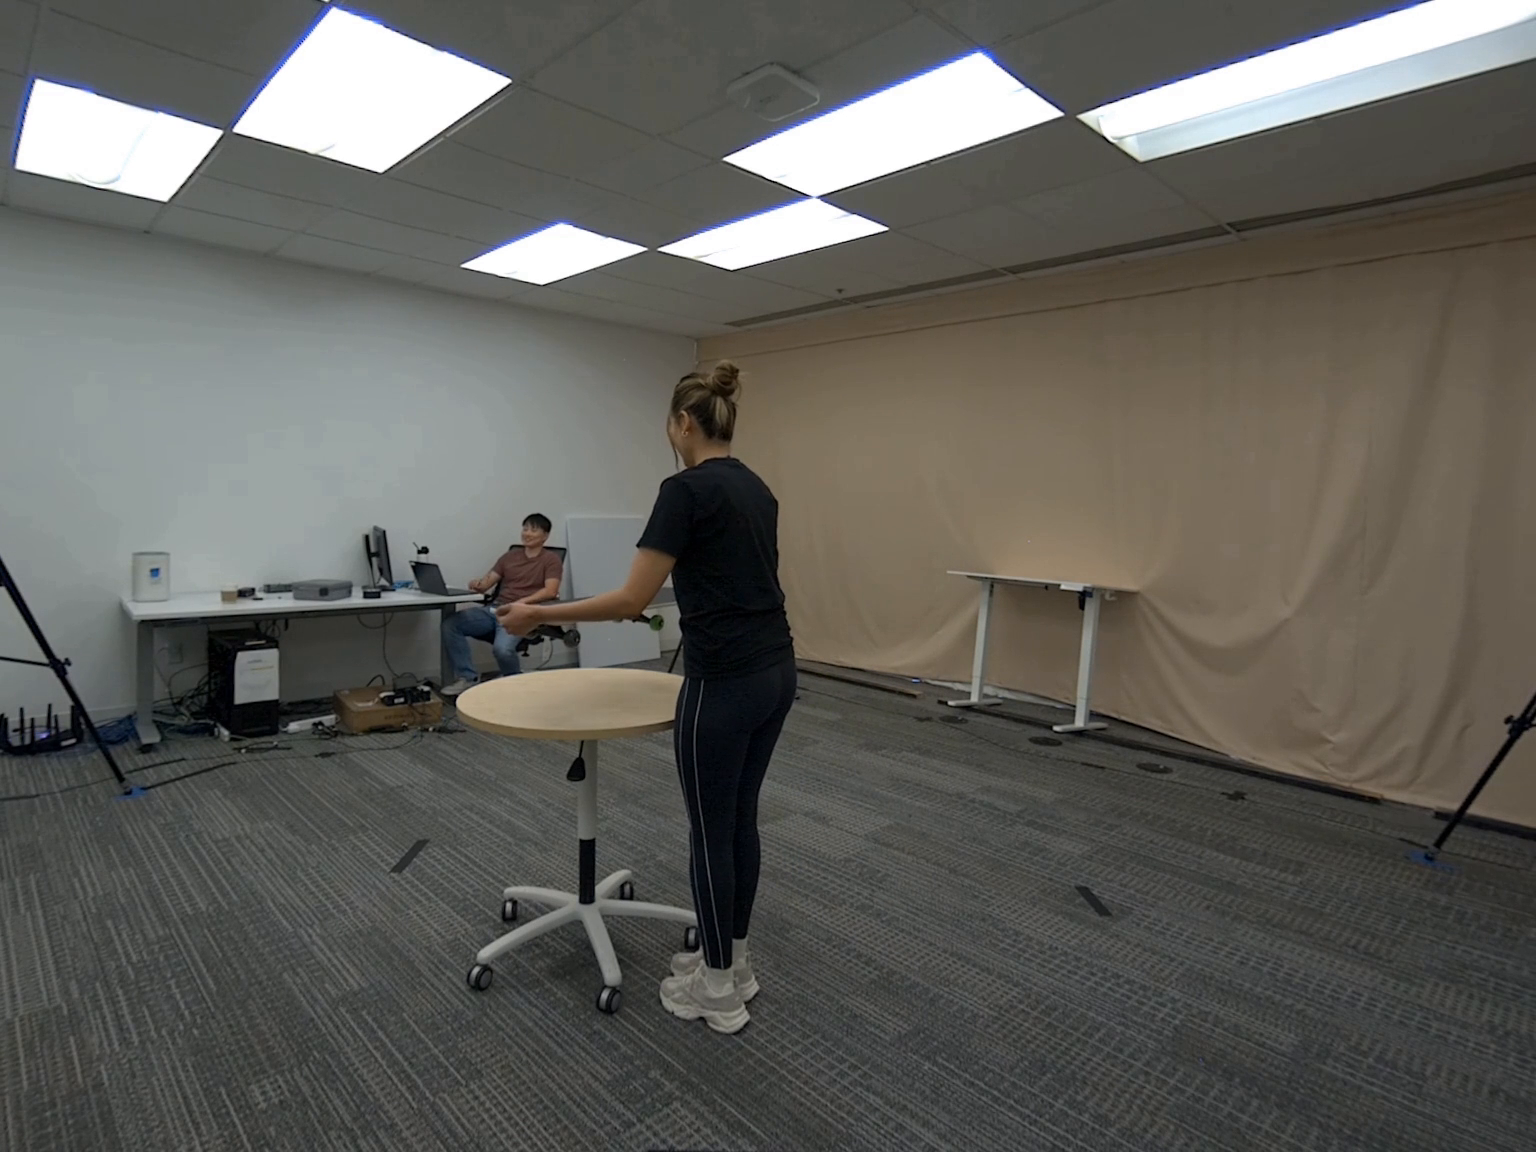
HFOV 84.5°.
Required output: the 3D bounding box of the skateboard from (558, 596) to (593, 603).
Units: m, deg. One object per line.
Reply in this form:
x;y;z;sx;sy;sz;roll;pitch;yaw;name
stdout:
-0.485;0.122;2.471;0.198;0.110;0.769;7;7;34;skateboard
